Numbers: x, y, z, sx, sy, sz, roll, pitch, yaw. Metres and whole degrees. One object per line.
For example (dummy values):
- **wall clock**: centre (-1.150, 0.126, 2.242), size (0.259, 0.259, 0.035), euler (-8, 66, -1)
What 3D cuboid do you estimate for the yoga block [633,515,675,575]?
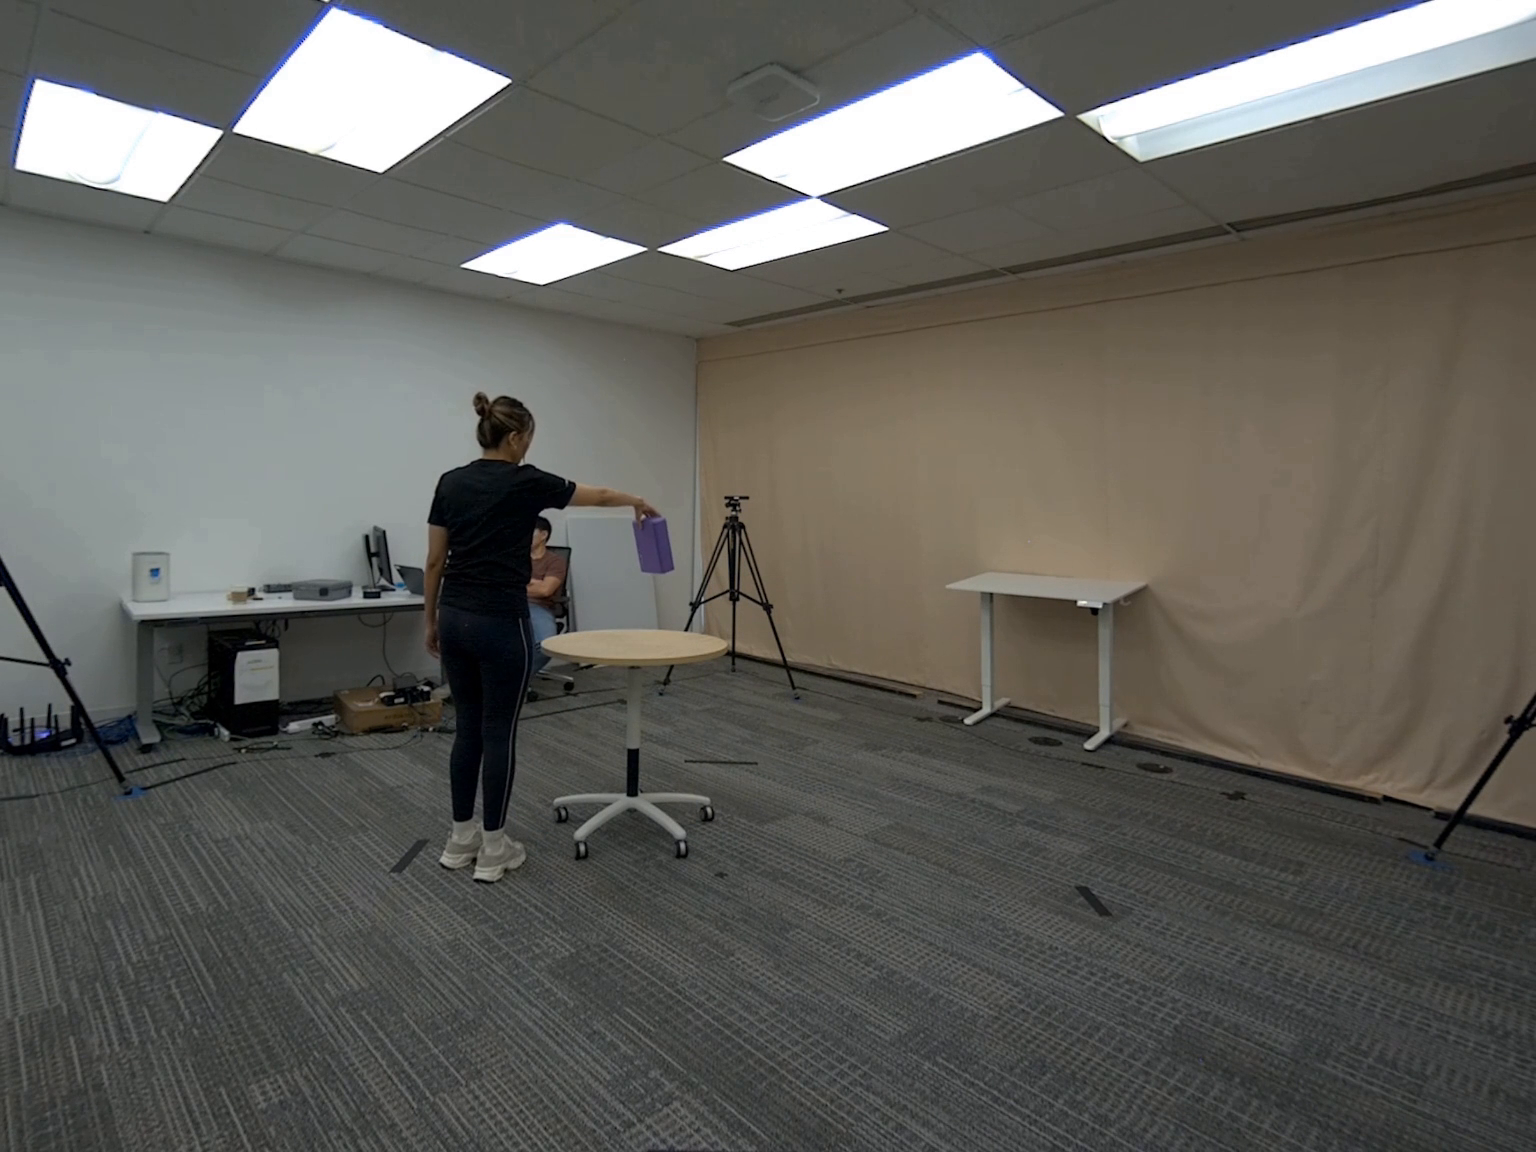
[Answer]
- **yoga block**: centre (-0.494, -0.130, 3.565), size (0.153, 0.227, 0.075), euler (4, 17, 44)
